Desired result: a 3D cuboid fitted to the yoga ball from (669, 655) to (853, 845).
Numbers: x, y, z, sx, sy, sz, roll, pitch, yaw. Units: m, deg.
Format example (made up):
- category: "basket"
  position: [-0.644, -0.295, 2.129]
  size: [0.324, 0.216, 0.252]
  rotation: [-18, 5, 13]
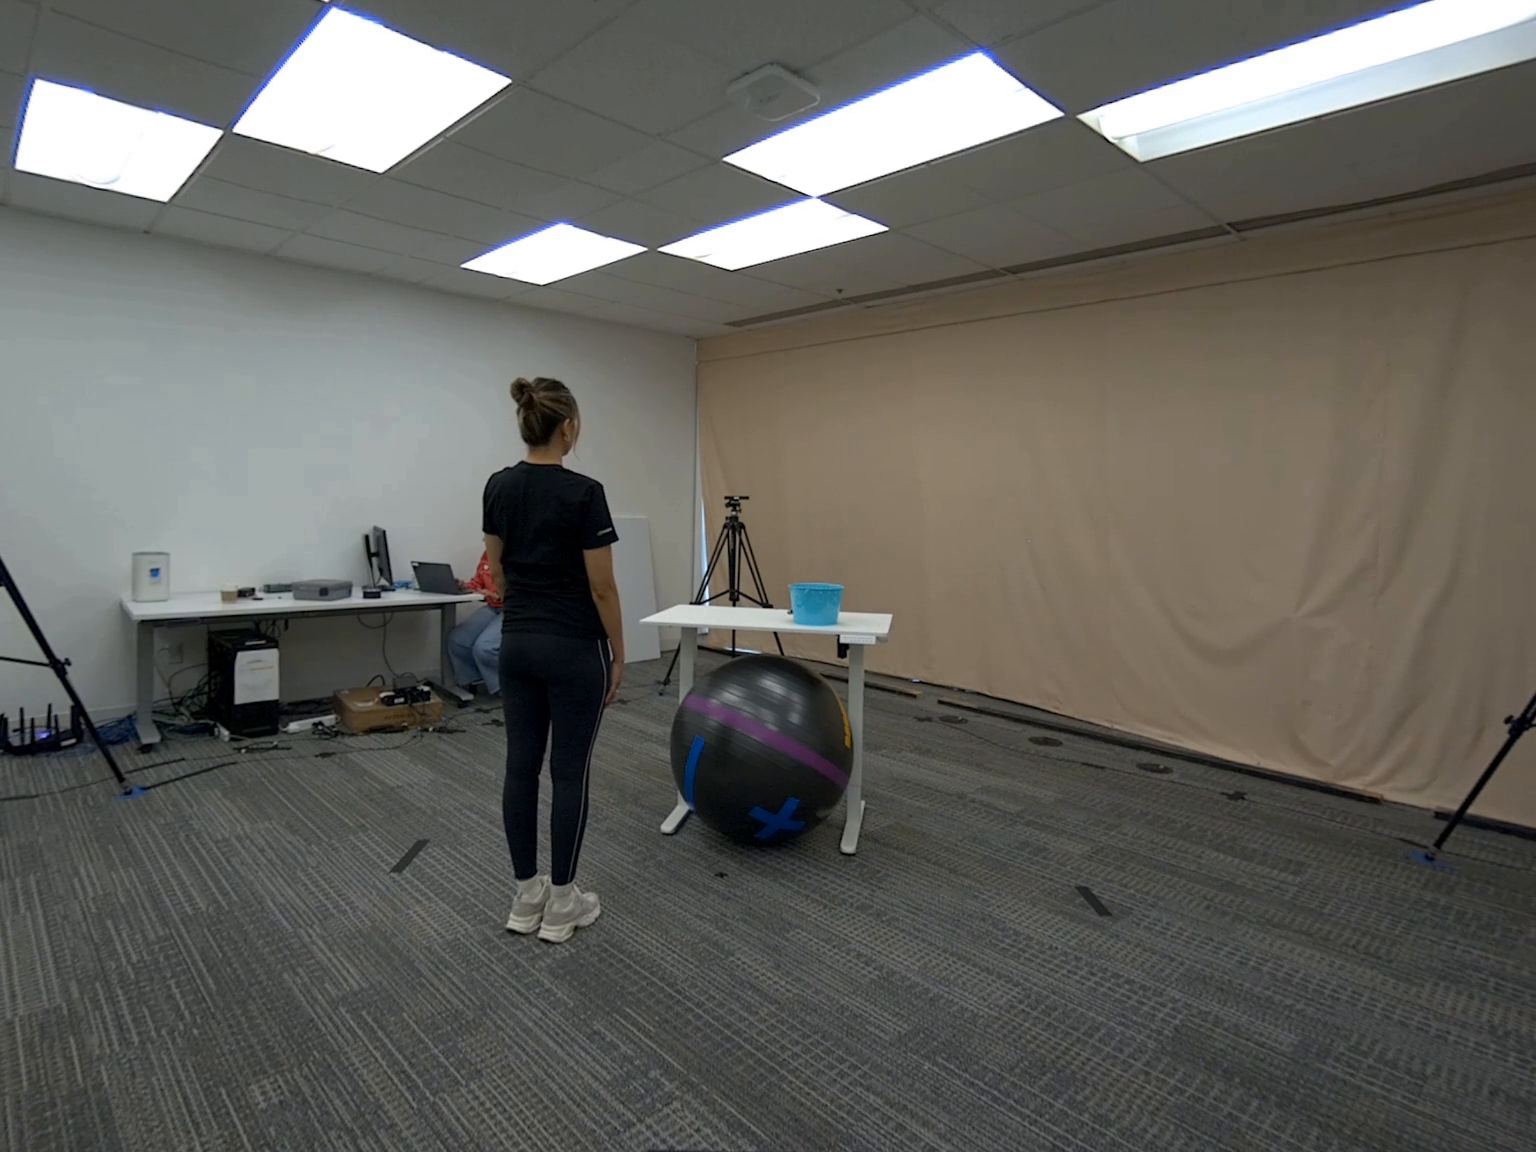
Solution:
- category: "yoga ball"
  position: [-0.028, 0.725, 3.474]
  size: [0.757, 0.756, 0.761]
  rotation: [1, 4, -1]
